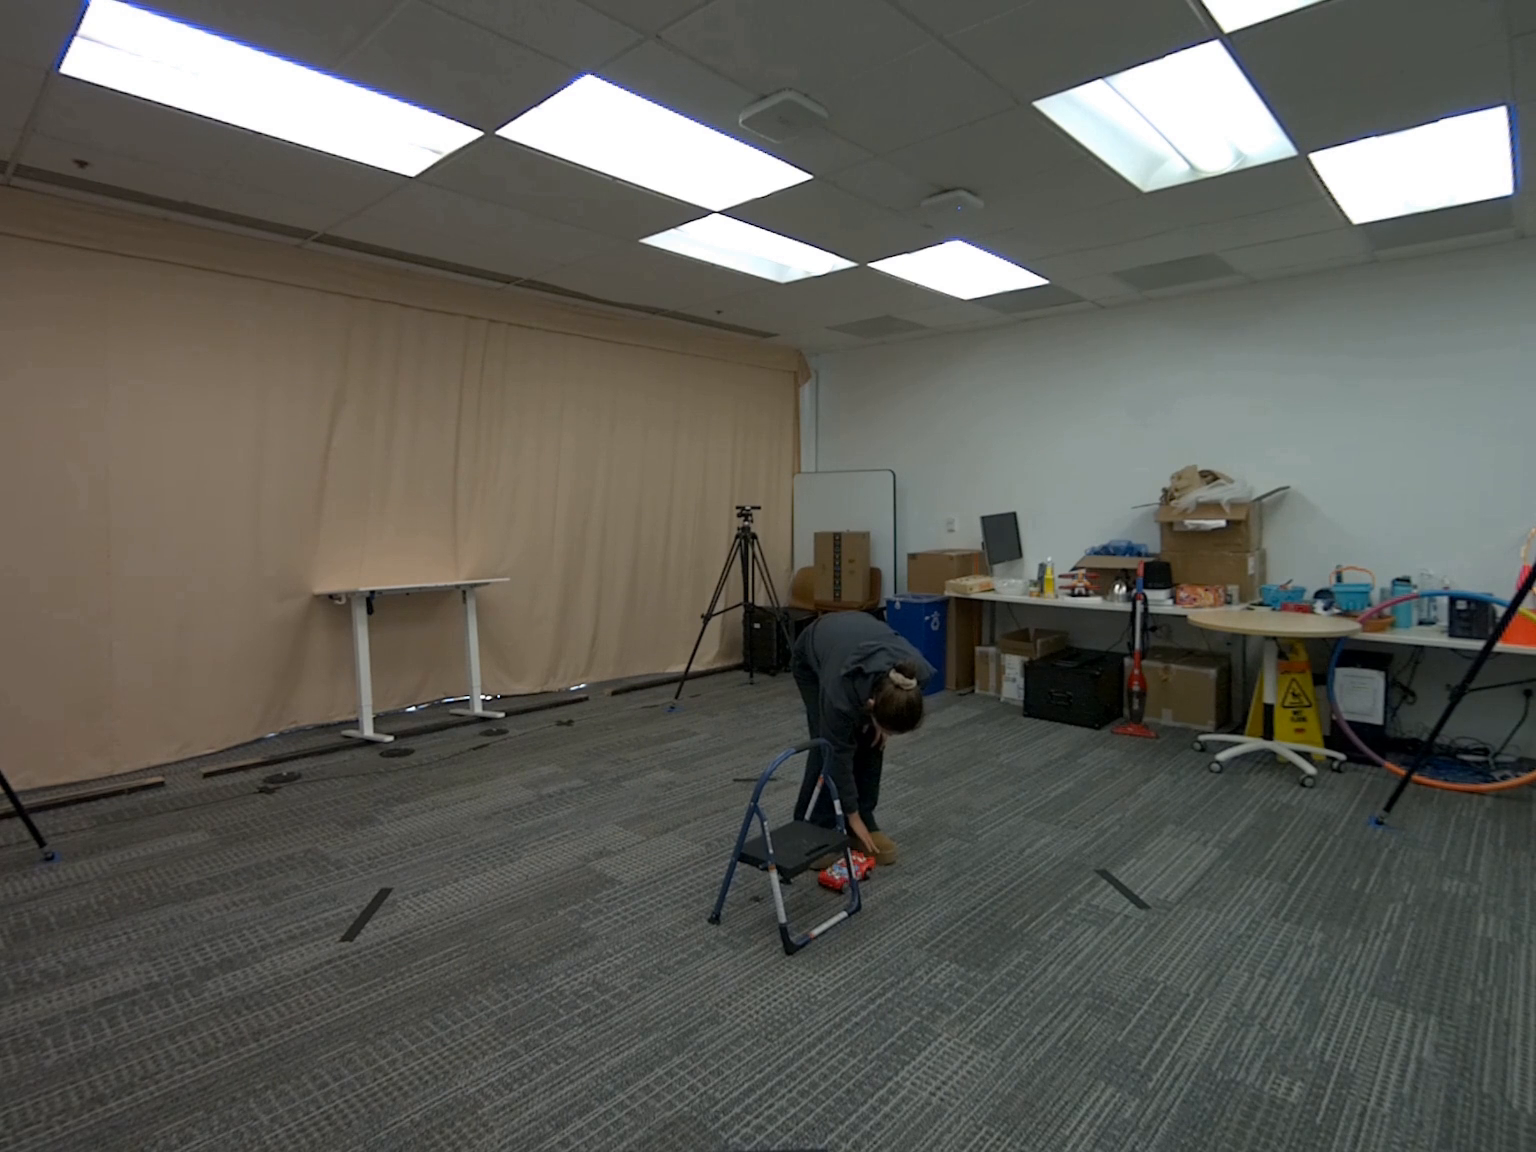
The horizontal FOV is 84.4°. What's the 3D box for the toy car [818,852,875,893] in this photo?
[{"bbox_3d":[0.318,1.092,3.128,0.134,0.082,0.248,3,17,44],"label":"toy car"}]
